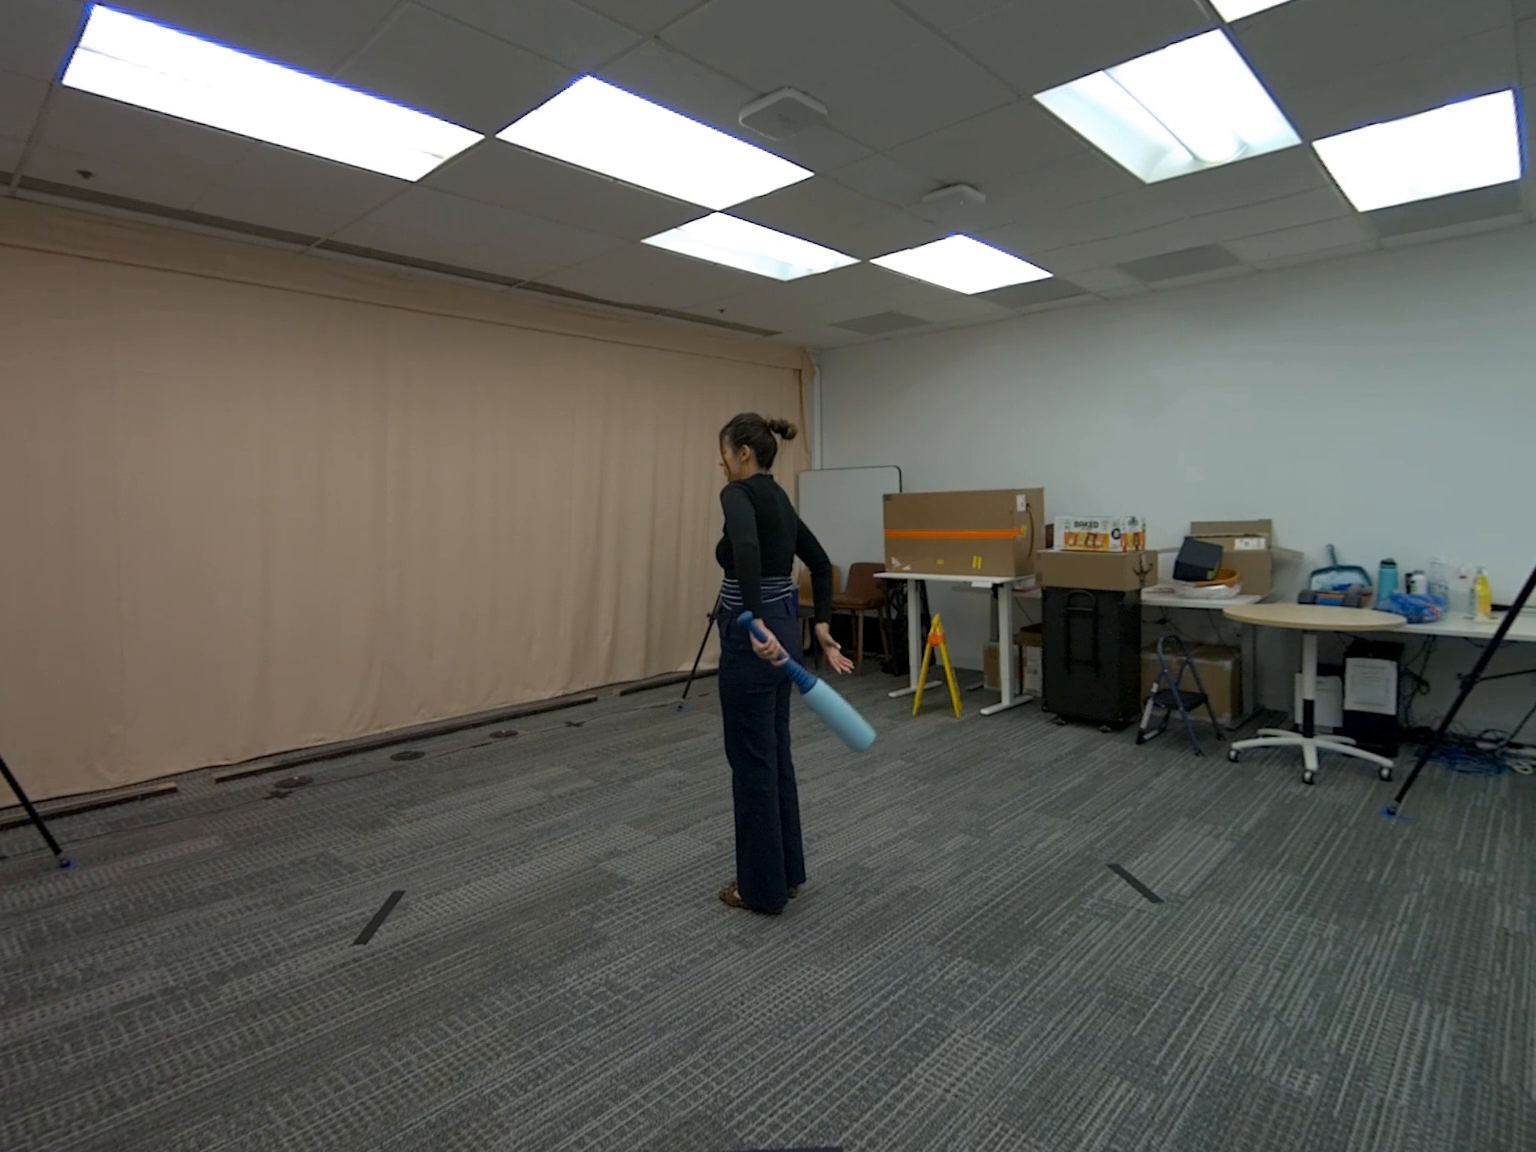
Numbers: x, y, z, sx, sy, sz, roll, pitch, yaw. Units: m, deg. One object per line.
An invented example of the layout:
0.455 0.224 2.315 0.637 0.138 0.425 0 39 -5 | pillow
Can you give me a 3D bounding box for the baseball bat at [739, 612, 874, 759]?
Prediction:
0.085 0.305 2.490 0.089 0.538 0.089 -44 7 6 | baseball bat
